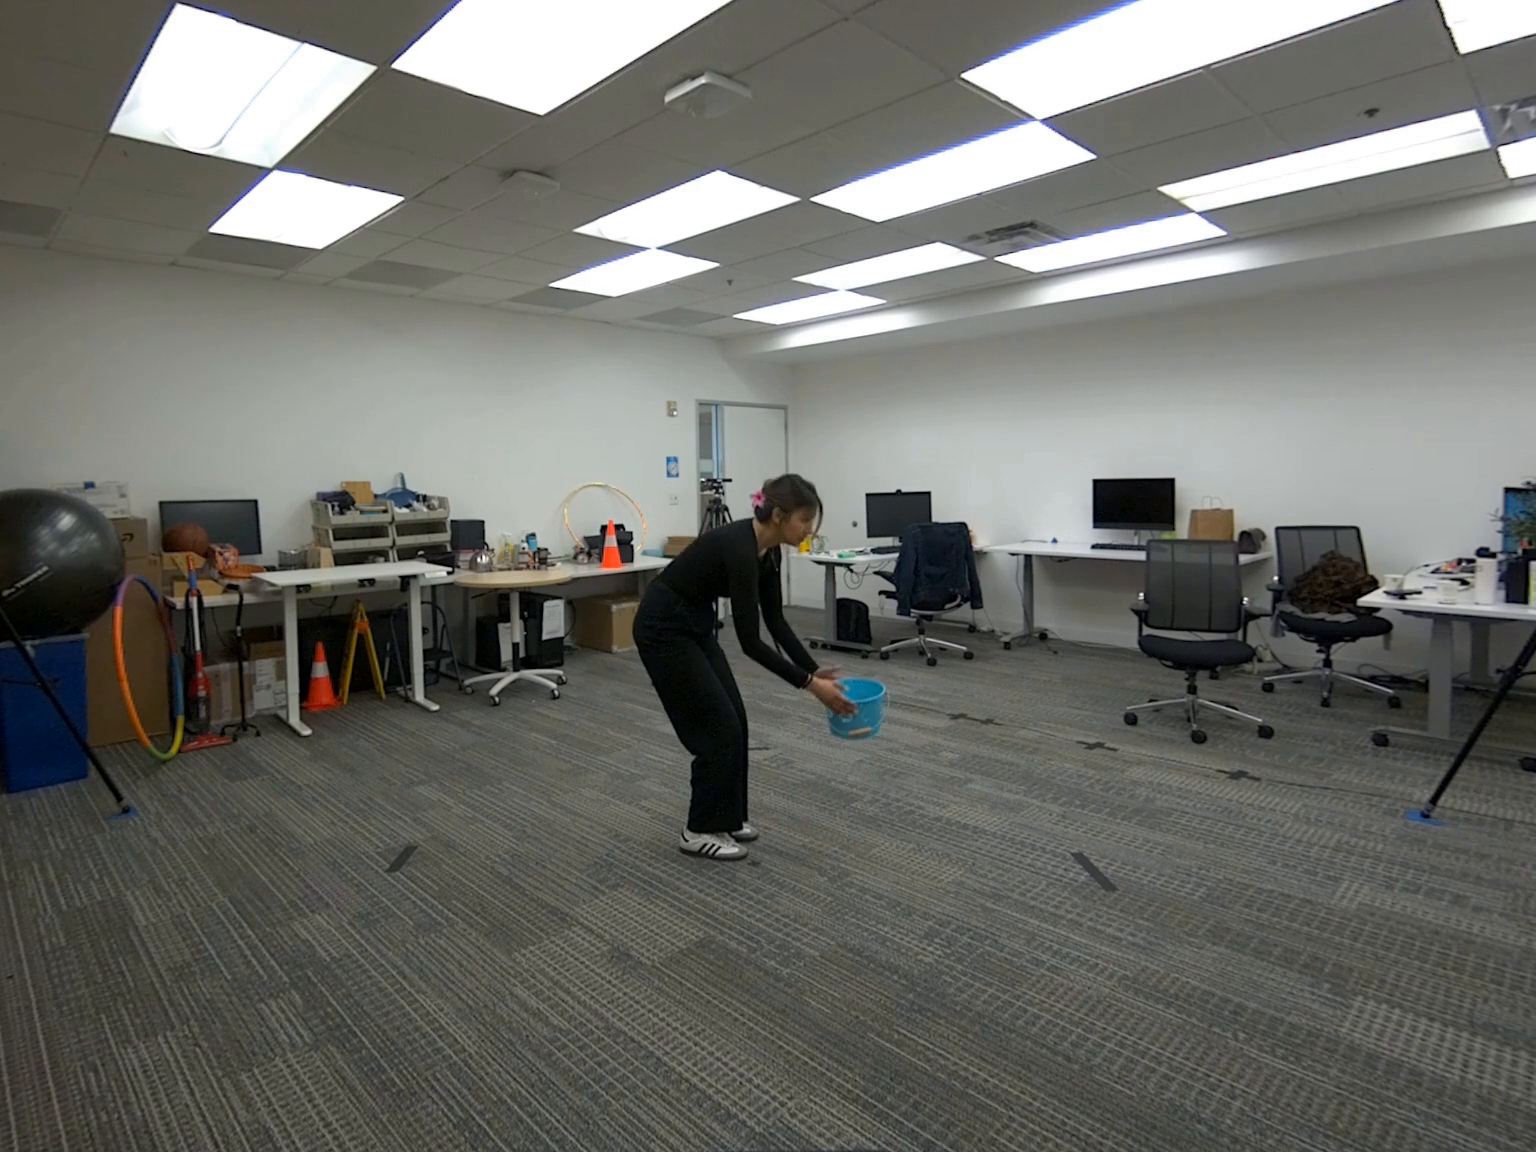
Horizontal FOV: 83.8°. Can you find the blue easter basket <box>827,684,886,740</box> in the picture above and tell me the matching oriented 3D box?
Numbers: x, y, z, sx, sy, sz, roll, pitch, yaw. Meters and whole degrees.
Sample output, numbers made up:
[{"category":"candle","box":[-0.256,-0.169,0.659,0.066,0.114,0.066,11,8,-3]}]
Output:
[{"category":"blue easter basket","box":[0.296,0.531,3.072,0.243,0.155,0.245,-4,5,-1]}]
